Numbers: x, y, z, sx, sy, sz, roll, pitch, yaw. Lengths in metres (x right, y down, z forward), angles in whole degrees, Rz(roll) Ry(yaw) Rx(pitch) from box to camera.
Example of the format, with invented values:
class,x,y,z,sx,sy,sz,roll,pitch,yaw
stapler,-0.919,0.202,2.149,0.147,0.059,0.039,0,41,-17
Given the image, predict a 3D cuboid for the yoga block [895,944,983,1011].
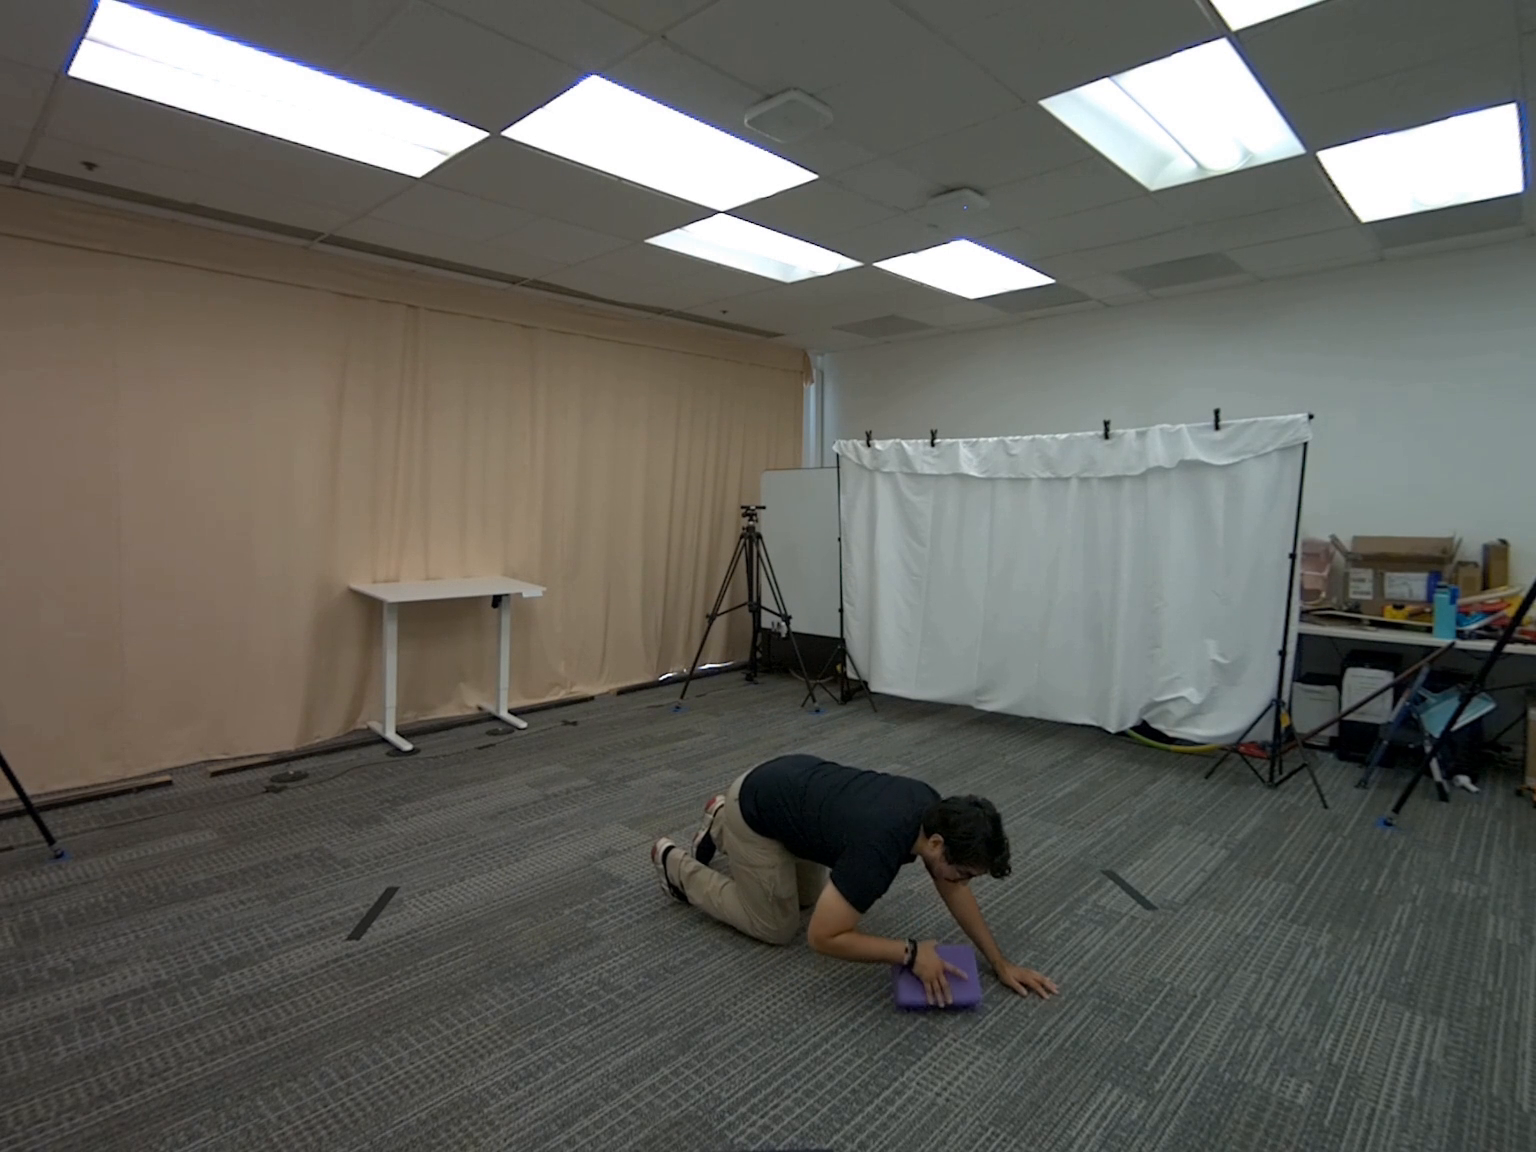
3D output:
class,x,y,z,sx,sy,sz,roll,pitch,yaw
yoga block,0.470,1.124,2.348,0.229,0.151,0.075,1,-30,-3
